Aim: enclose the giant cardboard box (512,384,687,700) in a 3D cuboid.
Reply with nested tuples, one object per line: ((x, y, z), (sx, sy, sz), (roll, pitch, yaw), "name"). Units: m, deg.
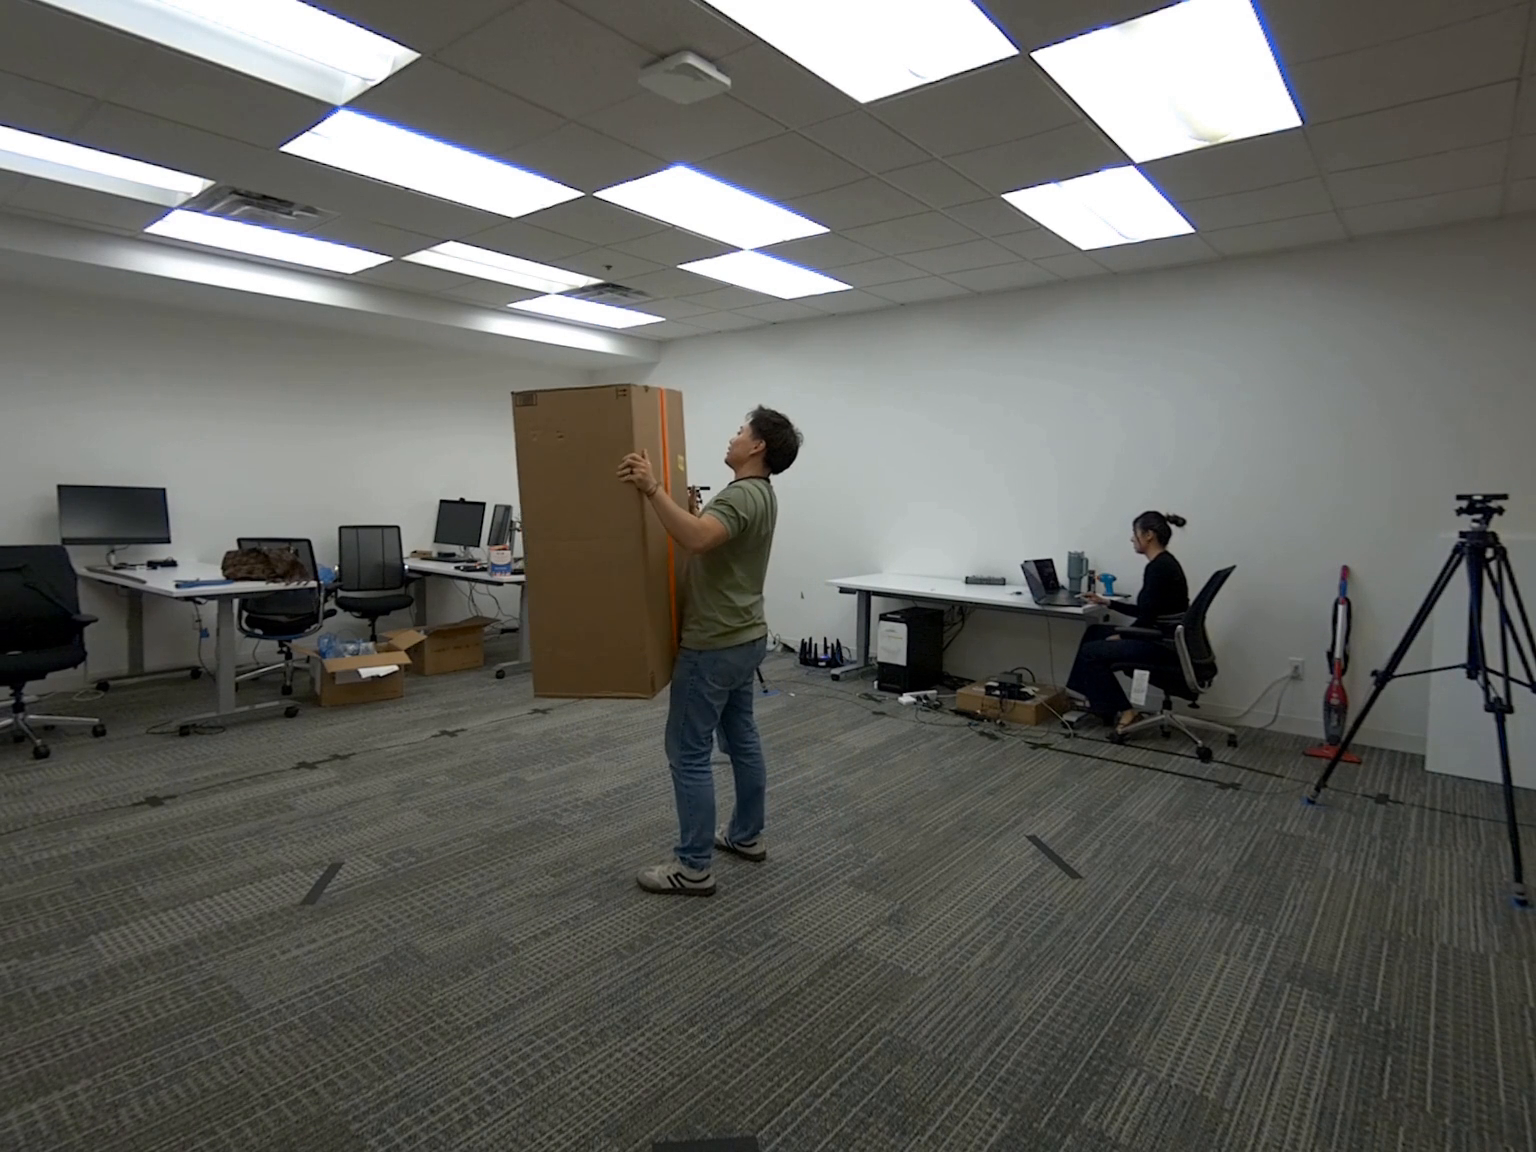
((-0.570, -0.143, 3.038), (0.432, 1.019, 0.573), (-1, 7, 13), "giant cardboard box")
